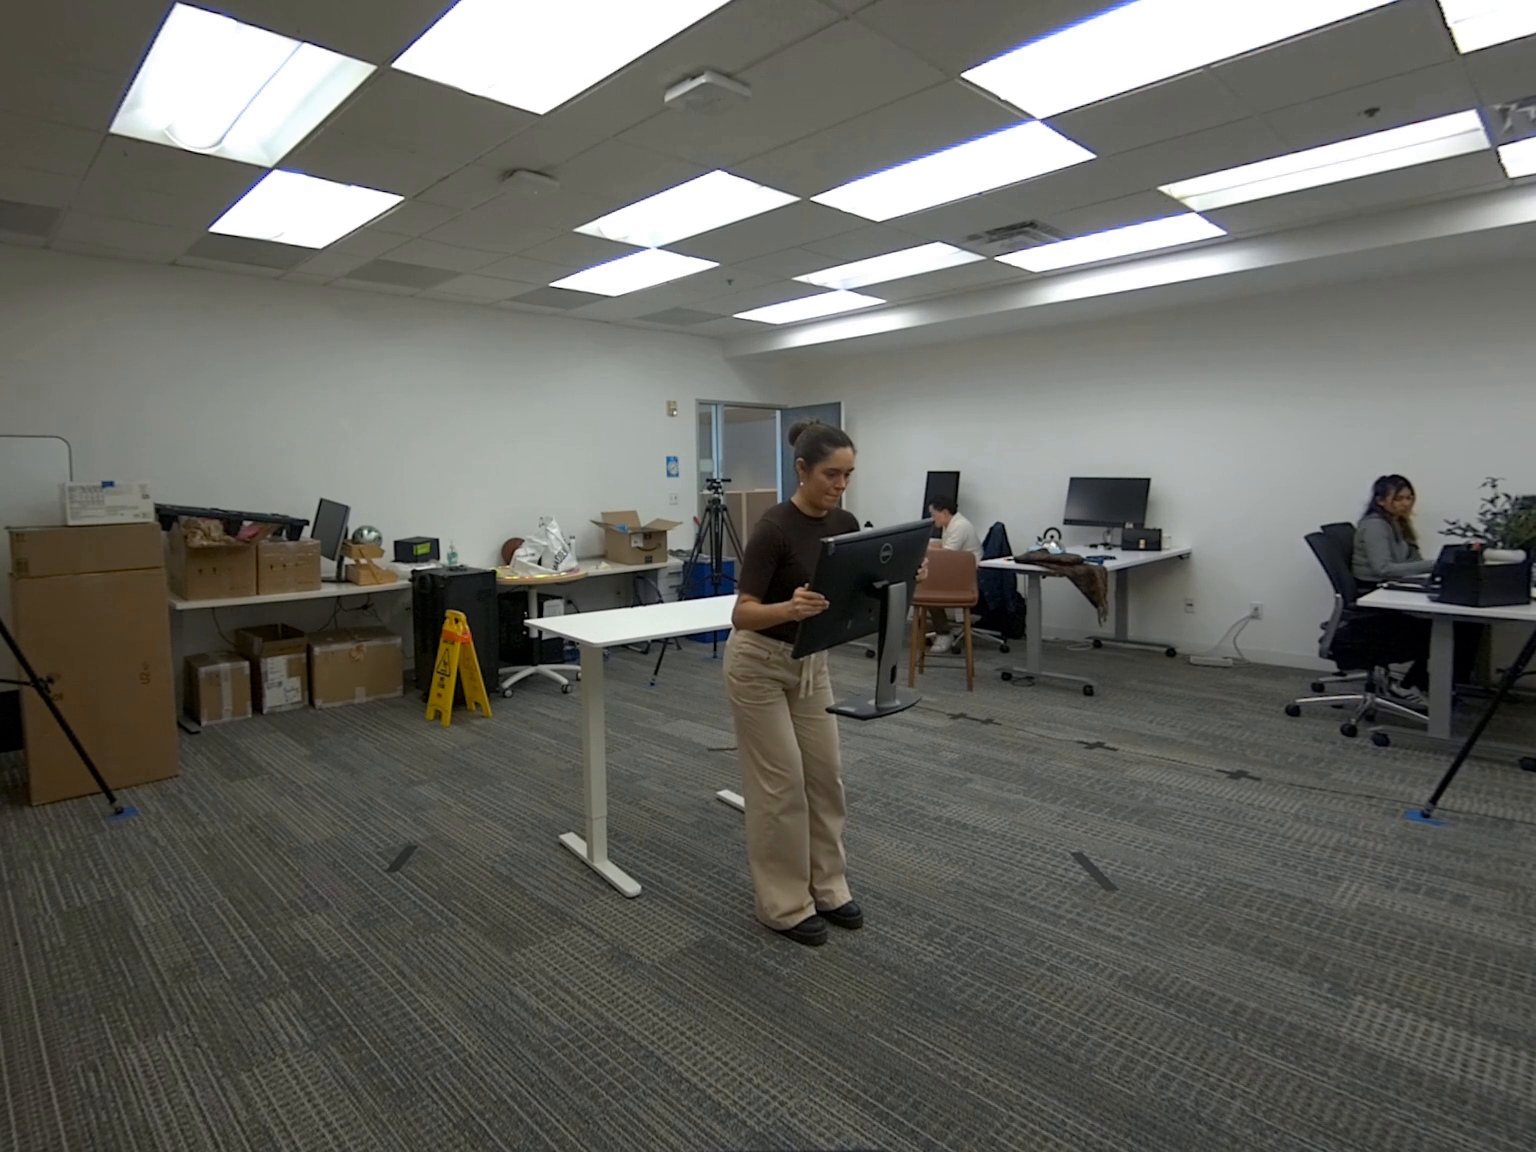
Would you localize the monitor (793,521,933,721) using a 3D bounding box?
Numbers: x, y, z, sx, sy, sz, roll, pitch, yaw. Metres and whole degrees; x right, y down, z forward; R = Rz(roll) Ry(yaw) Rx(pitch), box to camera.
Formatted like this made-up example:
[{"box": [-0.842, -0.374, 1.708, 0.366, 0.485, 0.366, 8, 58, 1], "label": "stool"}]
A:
[{"box": [0.308, 0.120, 2.423, 0.193, 0.518, 0.526, 6, 12, 43], "label": "monitor"}]
